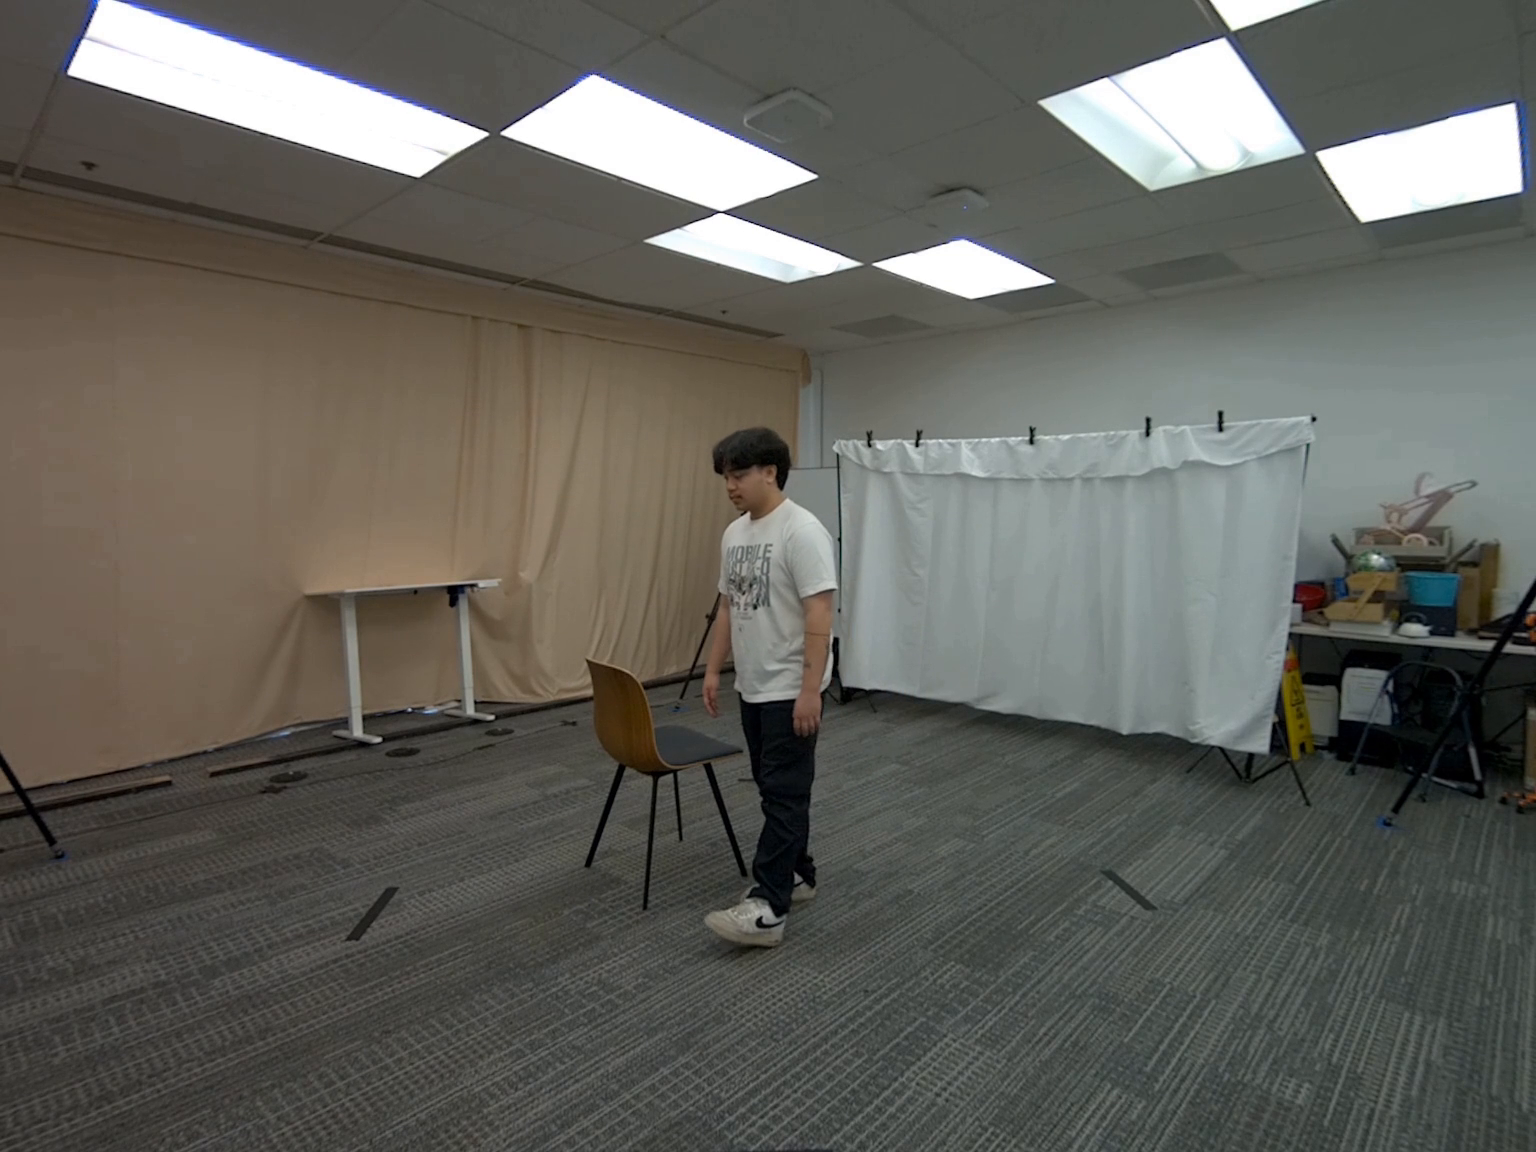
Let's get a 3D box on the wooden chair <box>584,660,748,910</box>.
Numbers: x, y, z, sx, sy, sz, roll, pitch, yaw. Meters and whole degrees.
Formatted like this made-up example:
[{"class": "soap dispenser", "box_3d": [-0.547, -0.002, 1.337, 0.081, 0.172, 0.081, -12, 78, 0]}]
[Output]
[{"class": "wooden chair", "box_3d": [-0.391, 0.704, 3.193, 0.508, 0.874, 0.493, -8, 7, -38]}]
